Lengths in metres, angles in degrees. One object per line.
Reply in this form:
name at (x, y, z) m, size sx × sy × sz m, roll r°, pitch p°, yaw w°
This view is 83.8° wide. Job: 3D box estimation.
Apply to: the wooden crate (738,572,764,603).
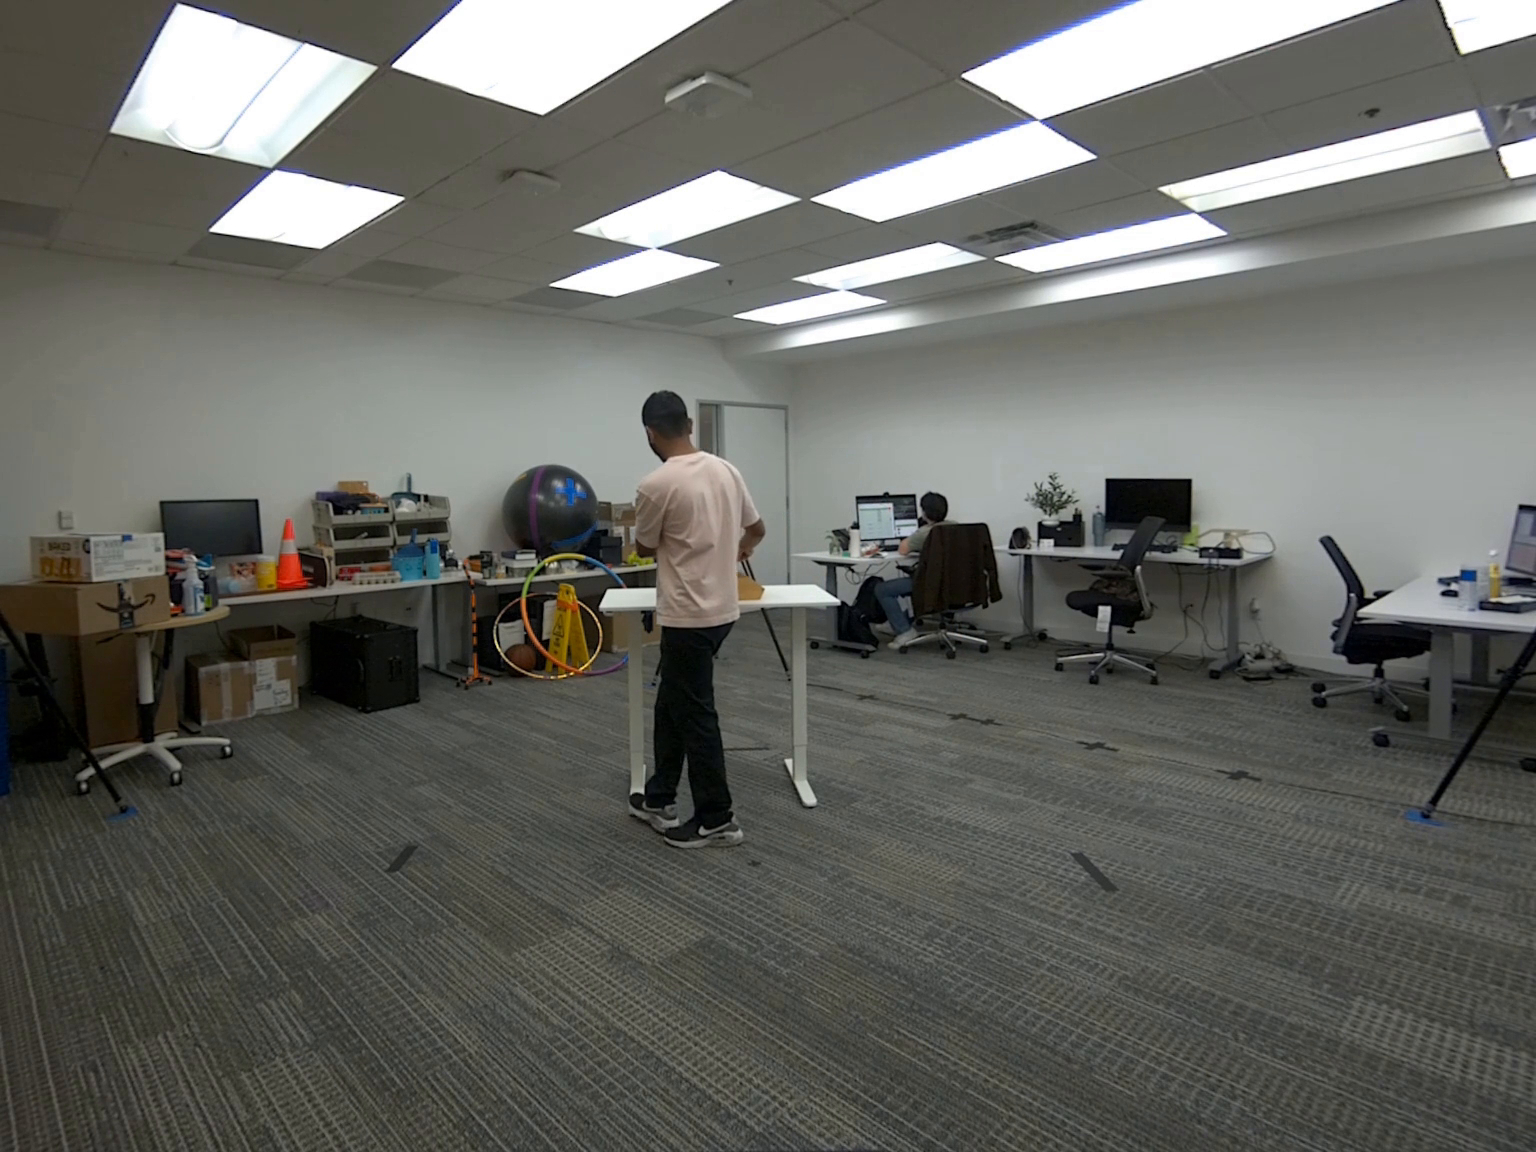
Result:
wooden crate at (-0.171, -0.042, 3.797) m, size 0.300 × 0.272 × 0.328 m, roll -4°, pitch 6°, yaw -8°
